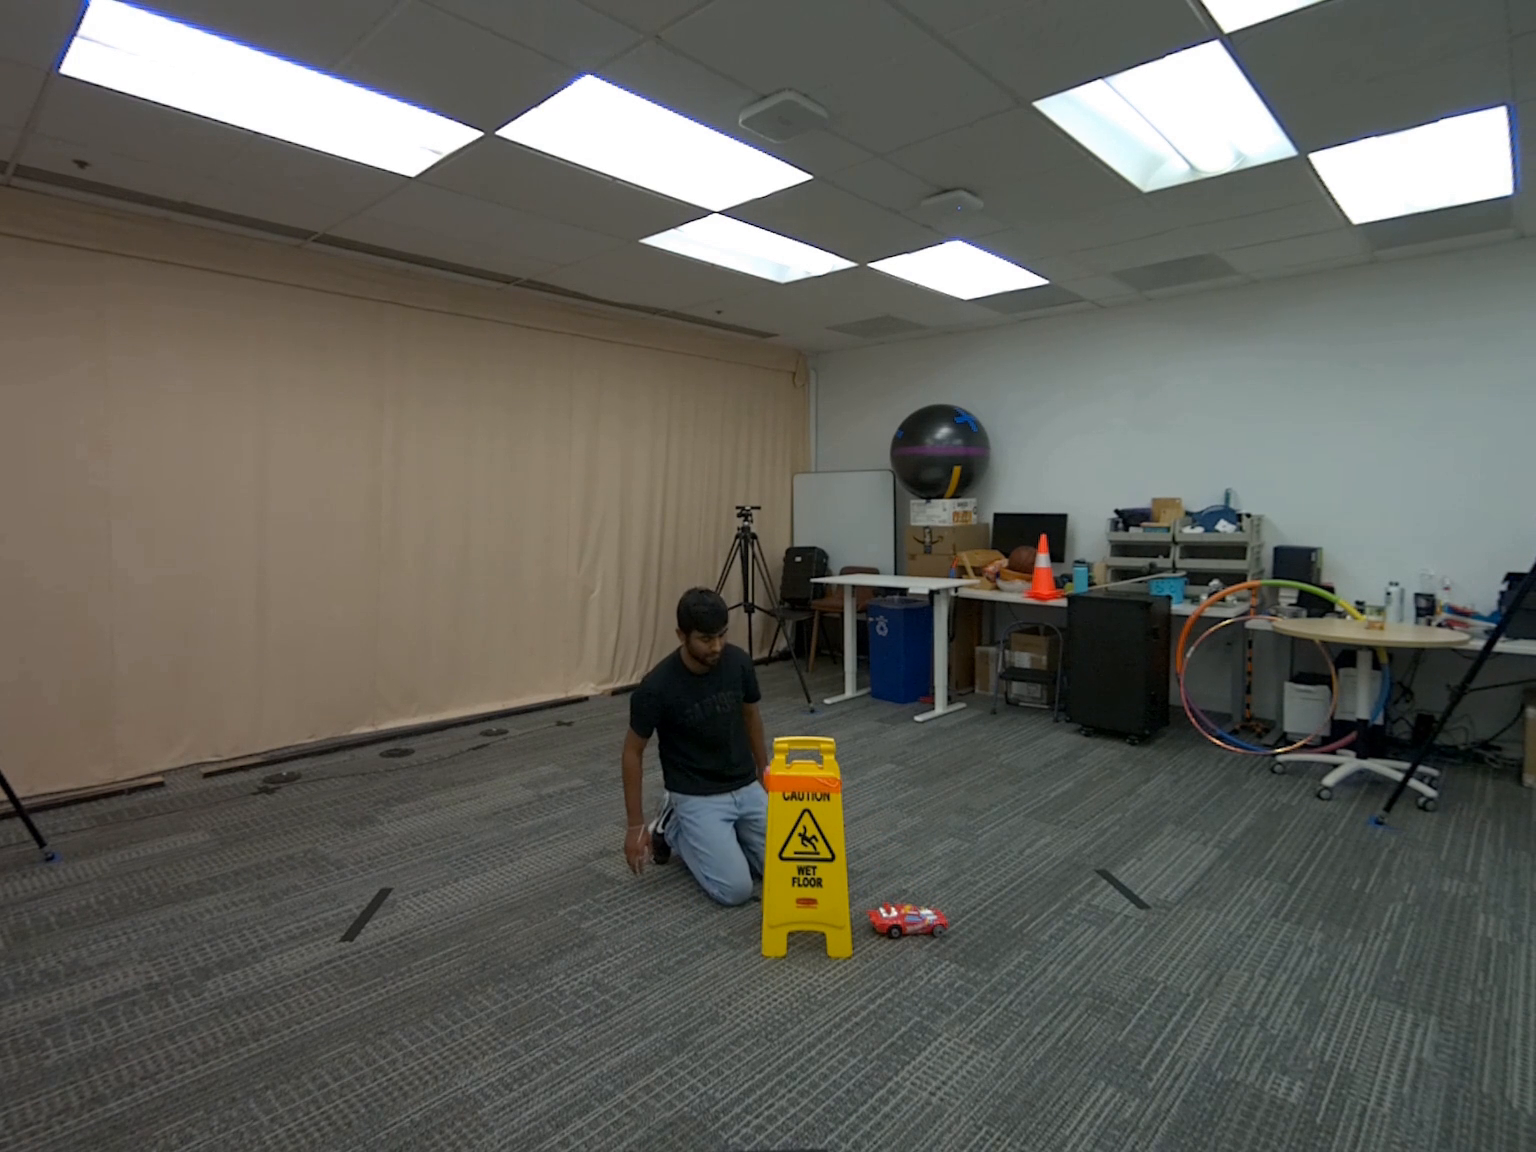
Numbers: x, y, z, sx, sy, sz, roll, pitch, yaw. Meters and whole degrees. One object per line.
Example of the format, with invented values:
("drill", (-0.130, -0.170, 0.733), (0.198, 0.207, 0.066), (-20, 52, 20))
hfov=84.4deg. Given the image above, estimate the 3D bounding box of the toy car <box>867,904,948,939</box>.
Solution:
("toy car", (0.459, 1.132, 2.753), (0.253, 0.083, 0.131), (11, 3, -4))
